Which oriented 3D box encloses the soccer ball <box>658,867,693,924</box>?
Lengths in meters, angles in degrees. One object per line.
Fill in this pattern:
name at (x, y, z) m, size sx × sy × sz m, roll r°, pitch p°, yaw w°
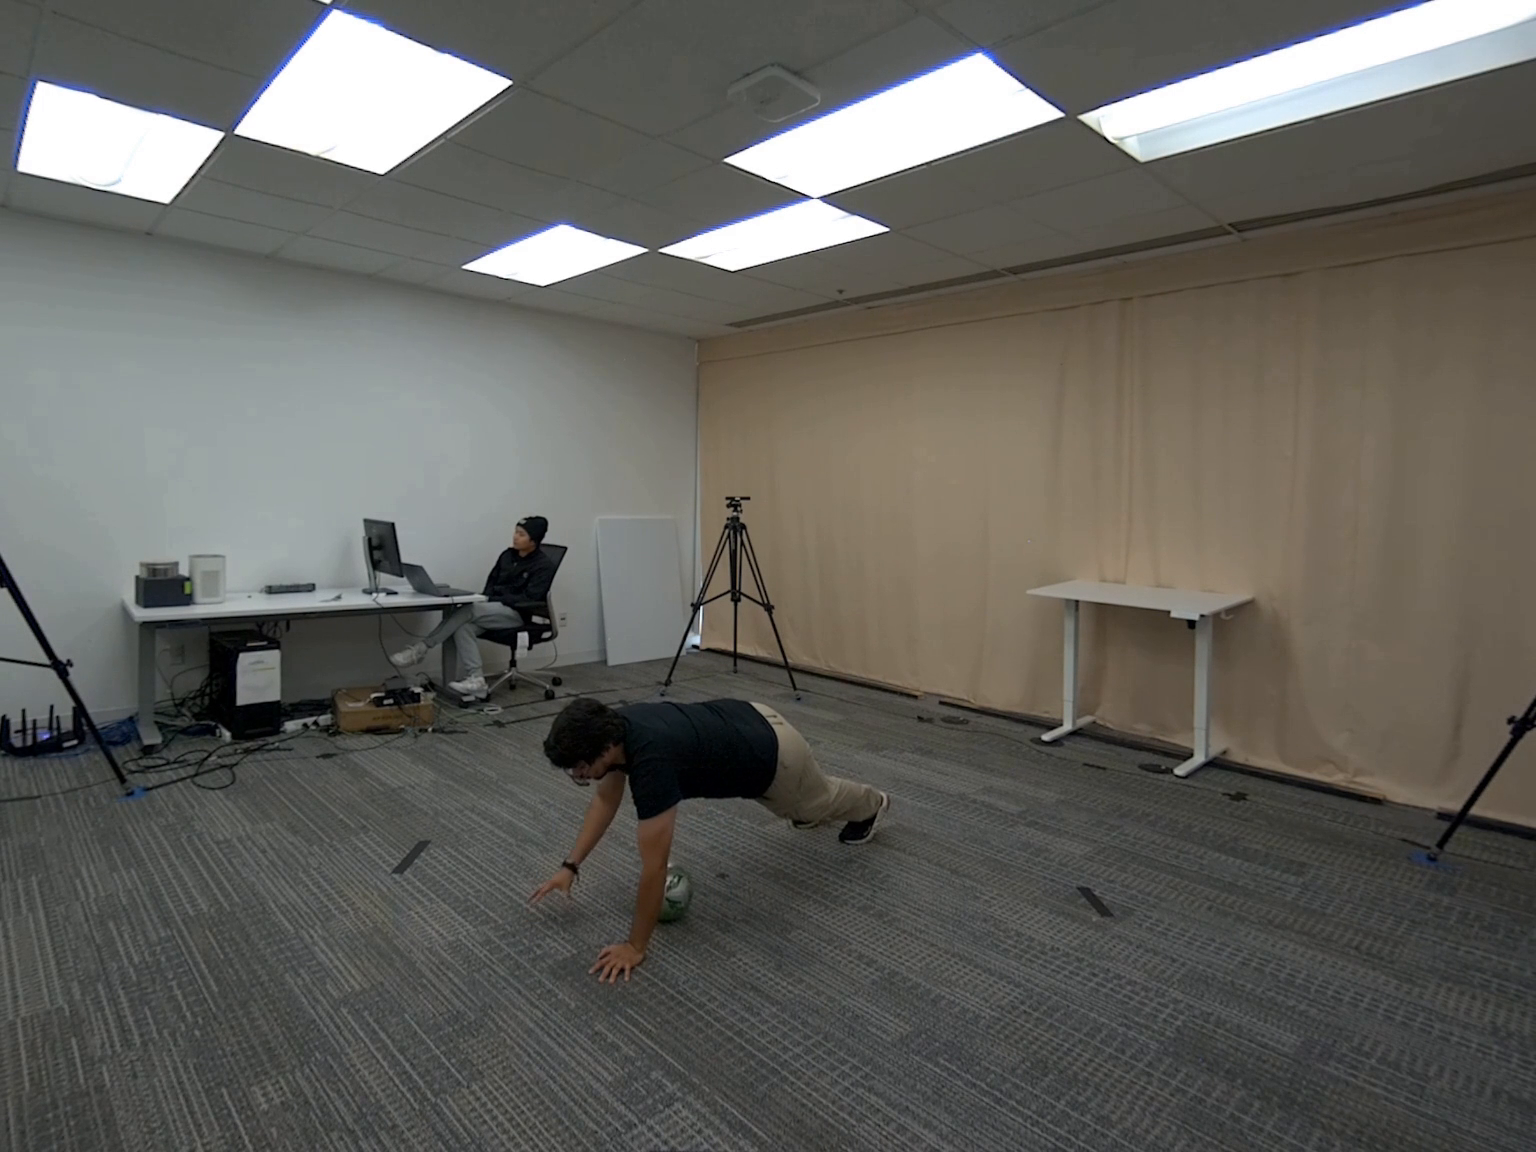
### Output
soccer ball at (-0.338, 1.044, 2.773) m, size 0.187 × 0.187 × 0.188 m, roll 1°, pitch 4°, yaw -1°
